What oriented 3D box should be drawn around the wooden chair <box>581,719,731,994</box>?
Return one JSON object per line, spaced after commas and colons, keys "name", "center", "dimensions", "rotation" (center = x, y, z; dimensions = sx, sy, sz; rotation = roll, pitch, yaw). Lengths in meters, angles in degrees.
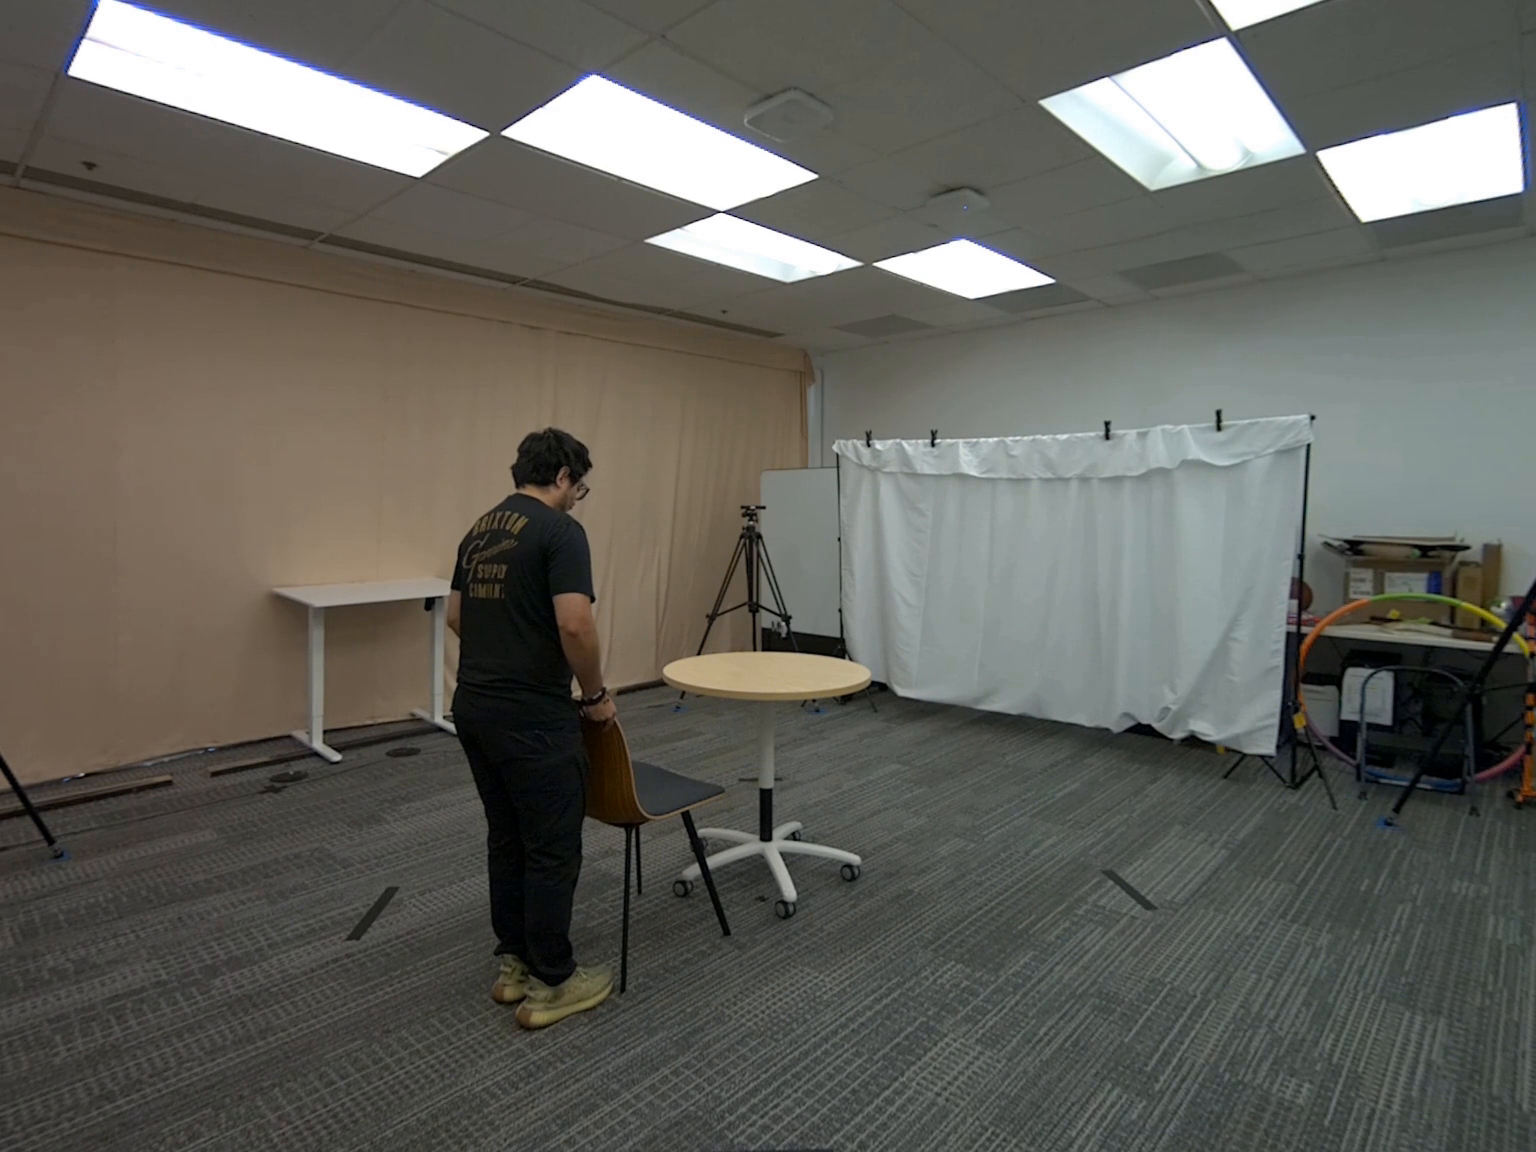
{"name": "wooden chair", "center": [-0.434, 0.745, 2.699], "dimensions": [0.494, 0.873, 0.508], "rotation": [2, 9, 42]}
